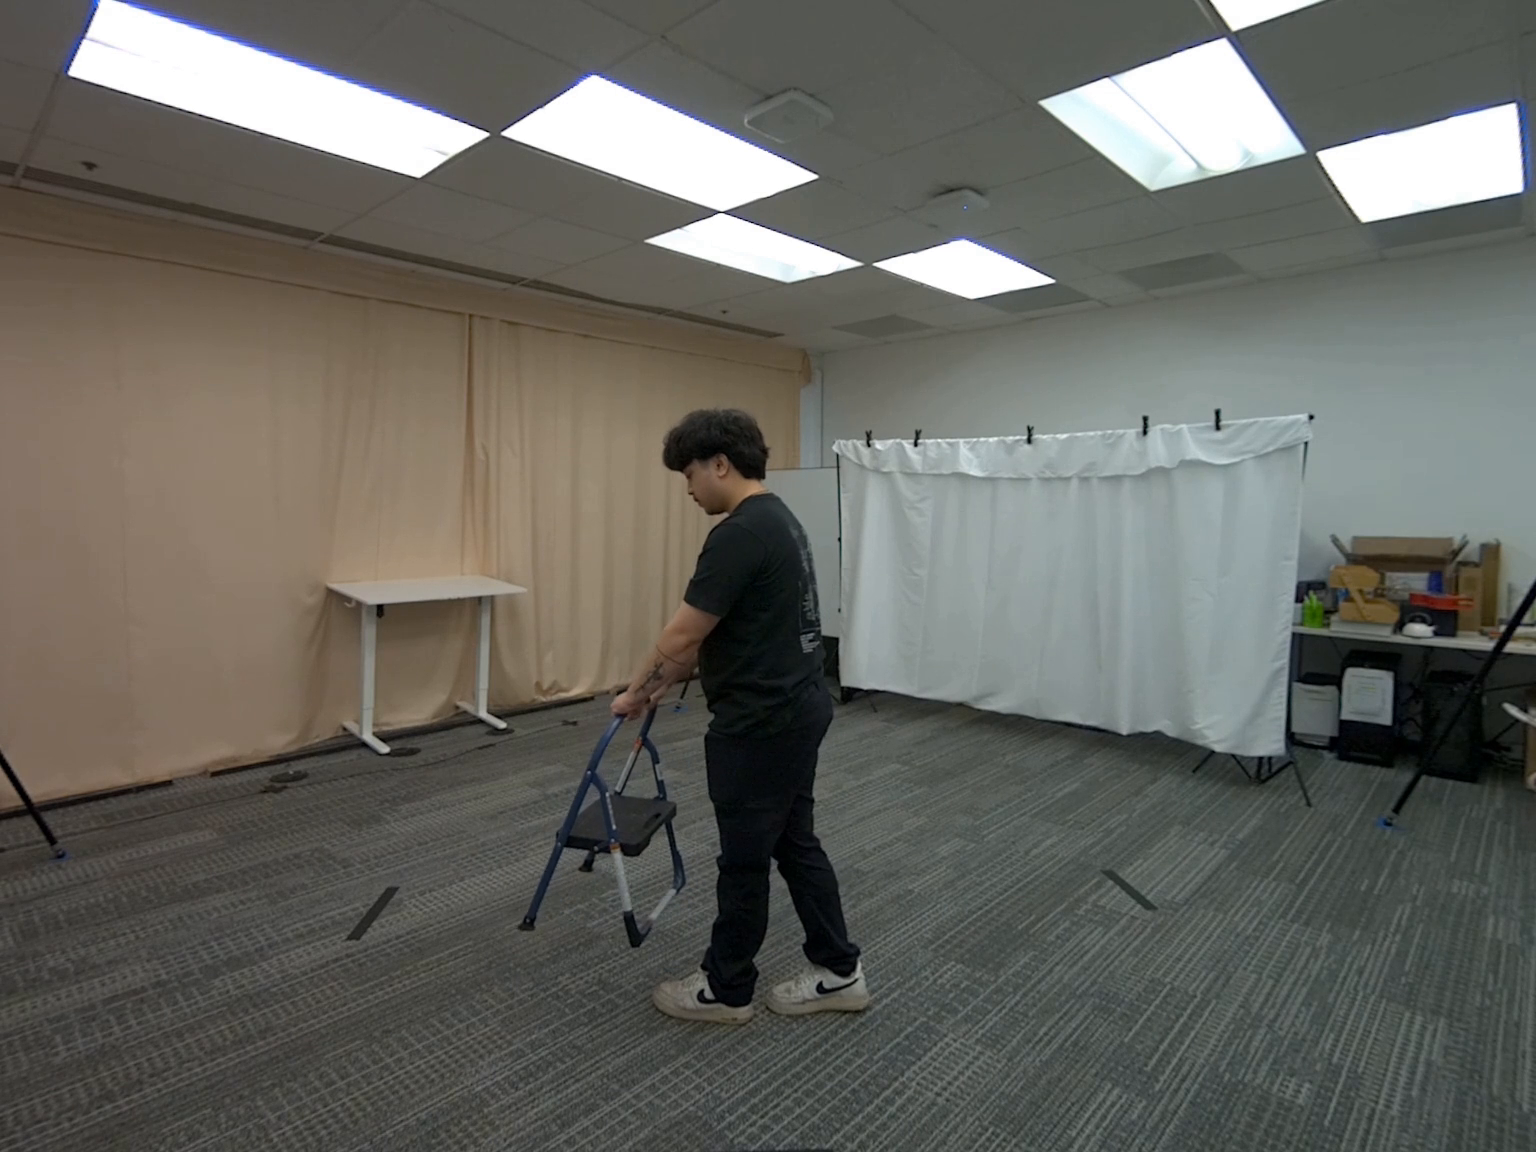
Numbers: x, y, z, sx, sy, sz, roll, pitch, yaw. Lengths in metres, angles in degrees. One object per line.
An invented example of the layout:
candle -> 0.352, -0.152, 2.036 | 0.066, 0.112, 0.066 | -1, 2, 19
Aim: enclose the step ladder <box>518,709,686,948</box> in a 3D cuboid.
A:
step ladder -> -0.447, 0.649, 2.396 | 0.354, 0.605, 0.425 | 3, 3, 12
